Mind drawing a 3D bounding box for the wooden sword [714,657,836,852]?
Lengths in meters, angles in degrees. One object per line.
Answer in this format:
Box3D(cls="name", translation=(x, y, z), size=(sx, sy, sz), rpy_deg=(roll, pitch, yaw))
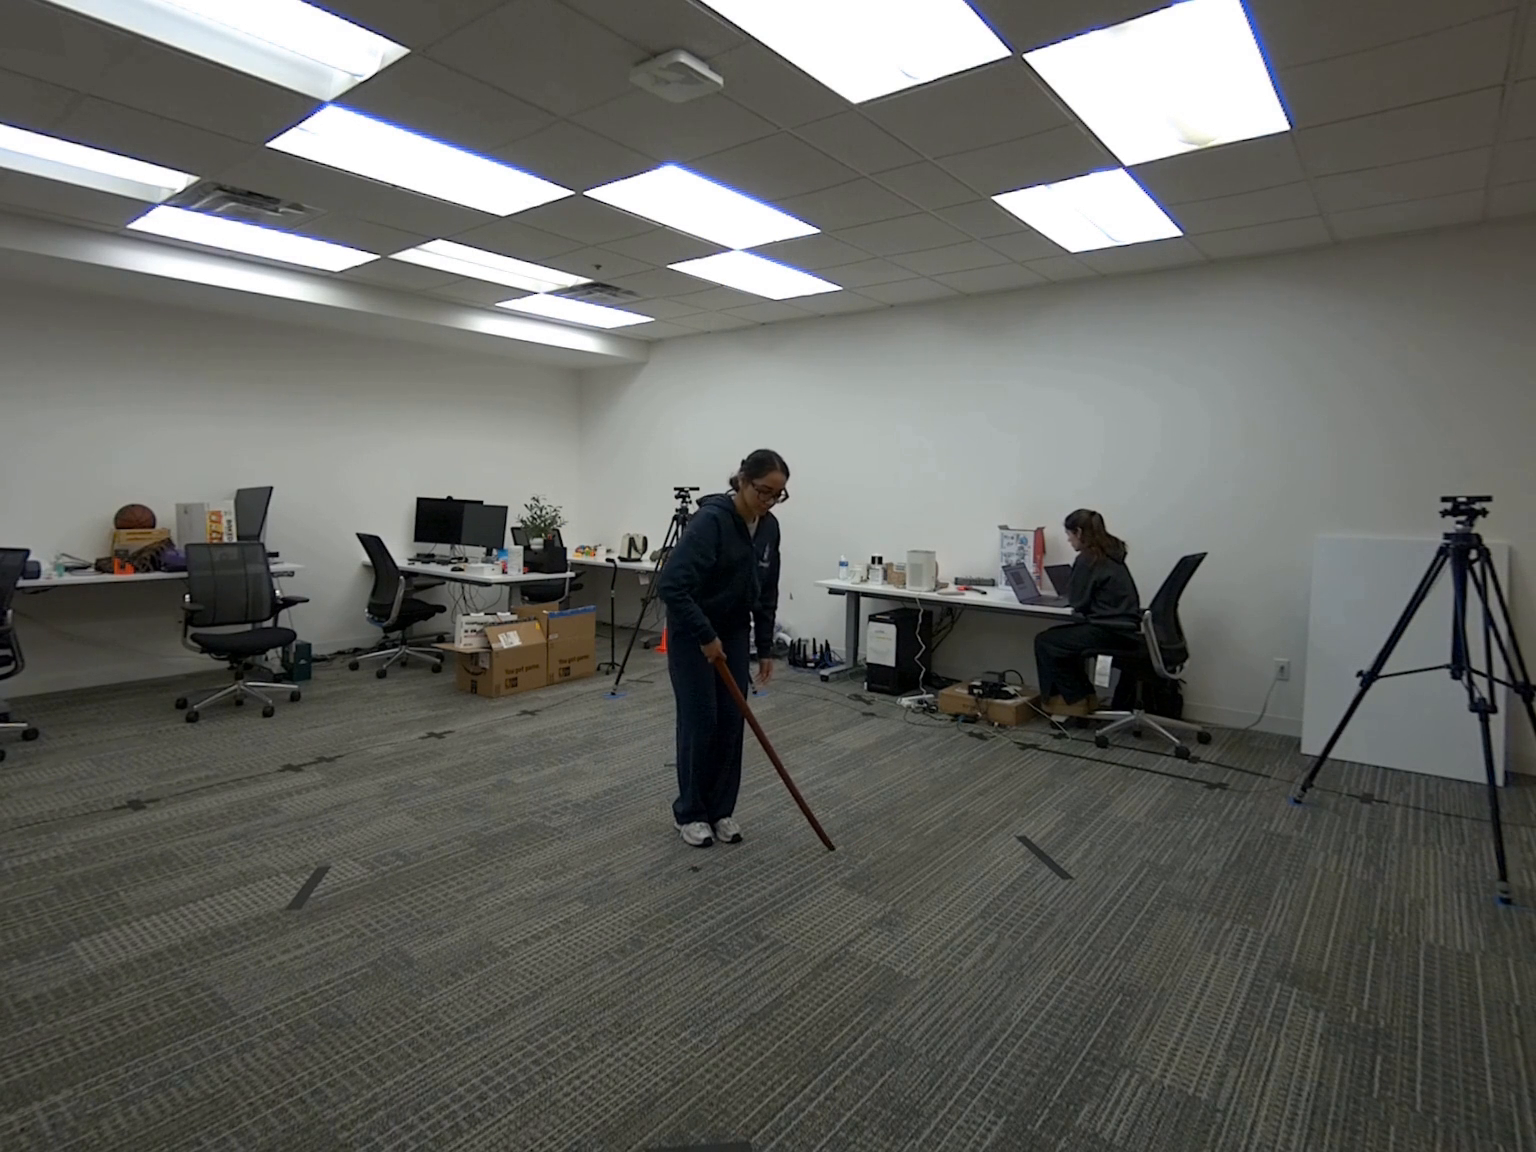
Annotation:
Box3D(cls="wooden sword", translation=(0.000, 0.658, 3.255), size=(0.051, 1.015, 0.024), rpy_deg=(-33, 7, -12))
